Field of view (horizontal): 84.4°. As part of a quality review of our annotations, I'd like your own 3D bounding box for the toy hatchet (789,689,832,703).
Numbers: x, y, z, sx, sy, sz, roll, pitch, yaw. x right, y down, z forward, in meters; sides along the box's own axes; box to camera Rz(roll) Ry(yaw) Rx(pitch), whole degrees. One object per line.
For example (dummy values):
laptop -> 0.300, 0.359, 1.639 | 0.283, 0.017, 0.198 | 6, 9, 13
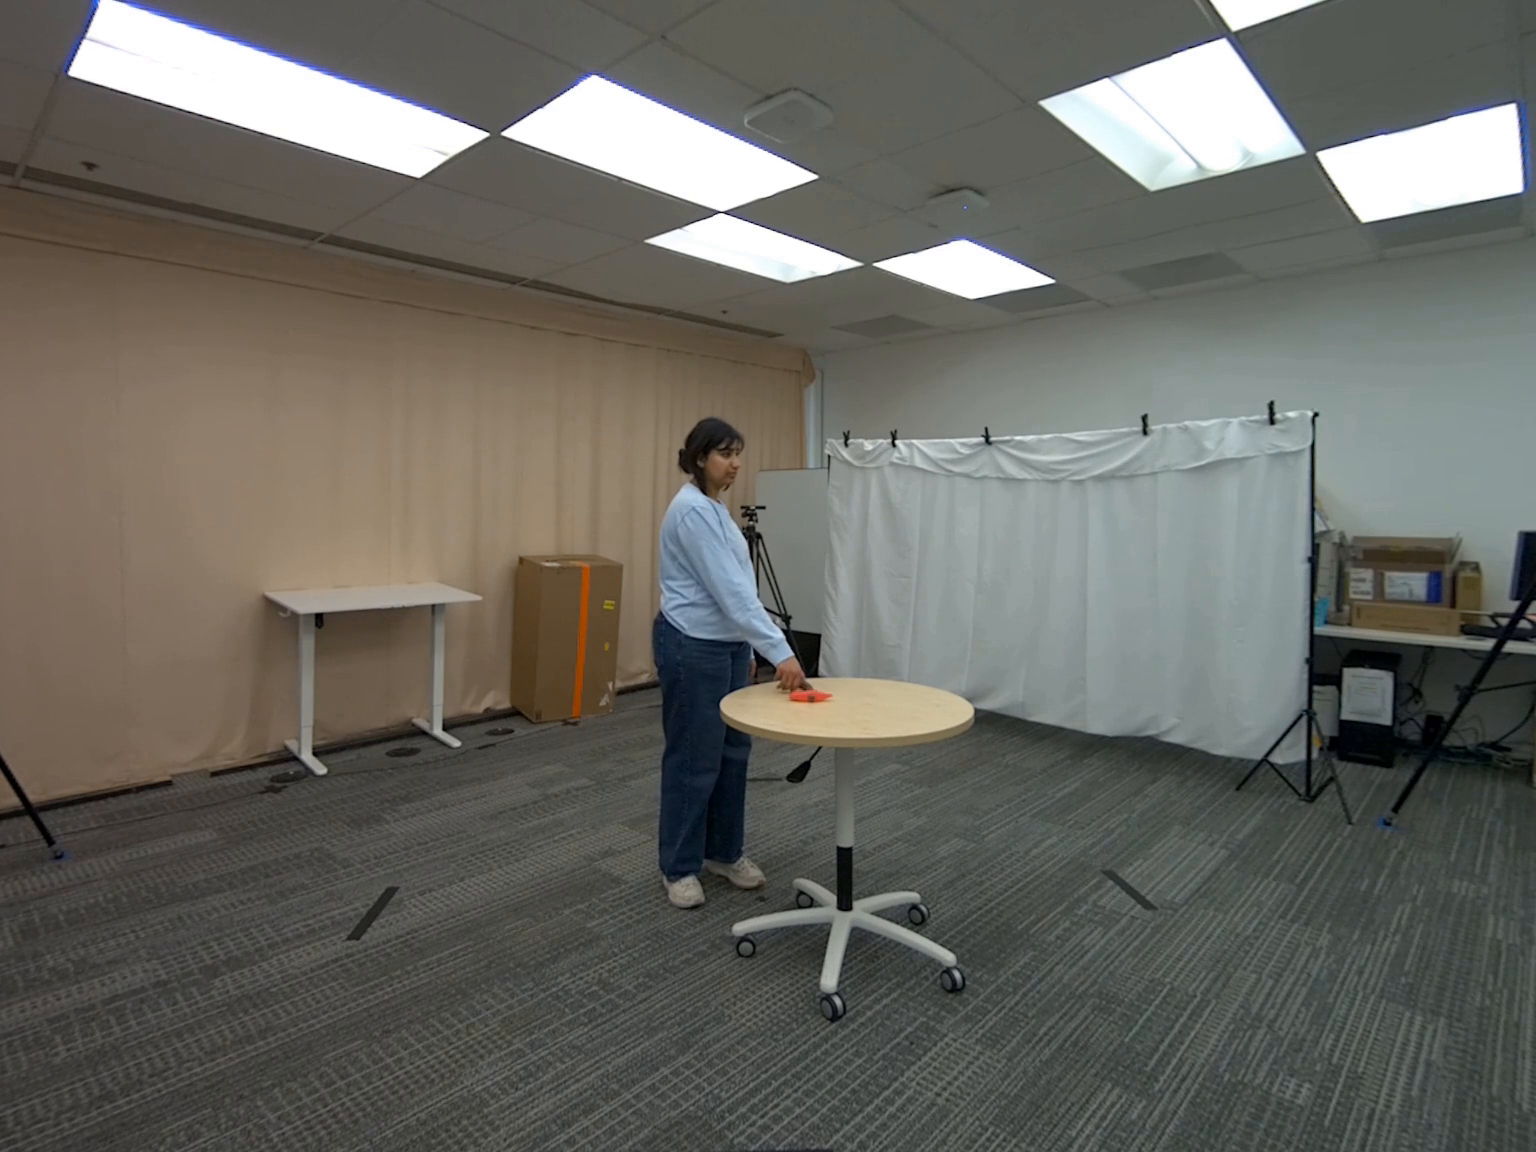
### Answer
toy hatchet -> 0.098, 0.371, 2.724 | 0.129, 0.029, 0.275 | -6, 5, -19
